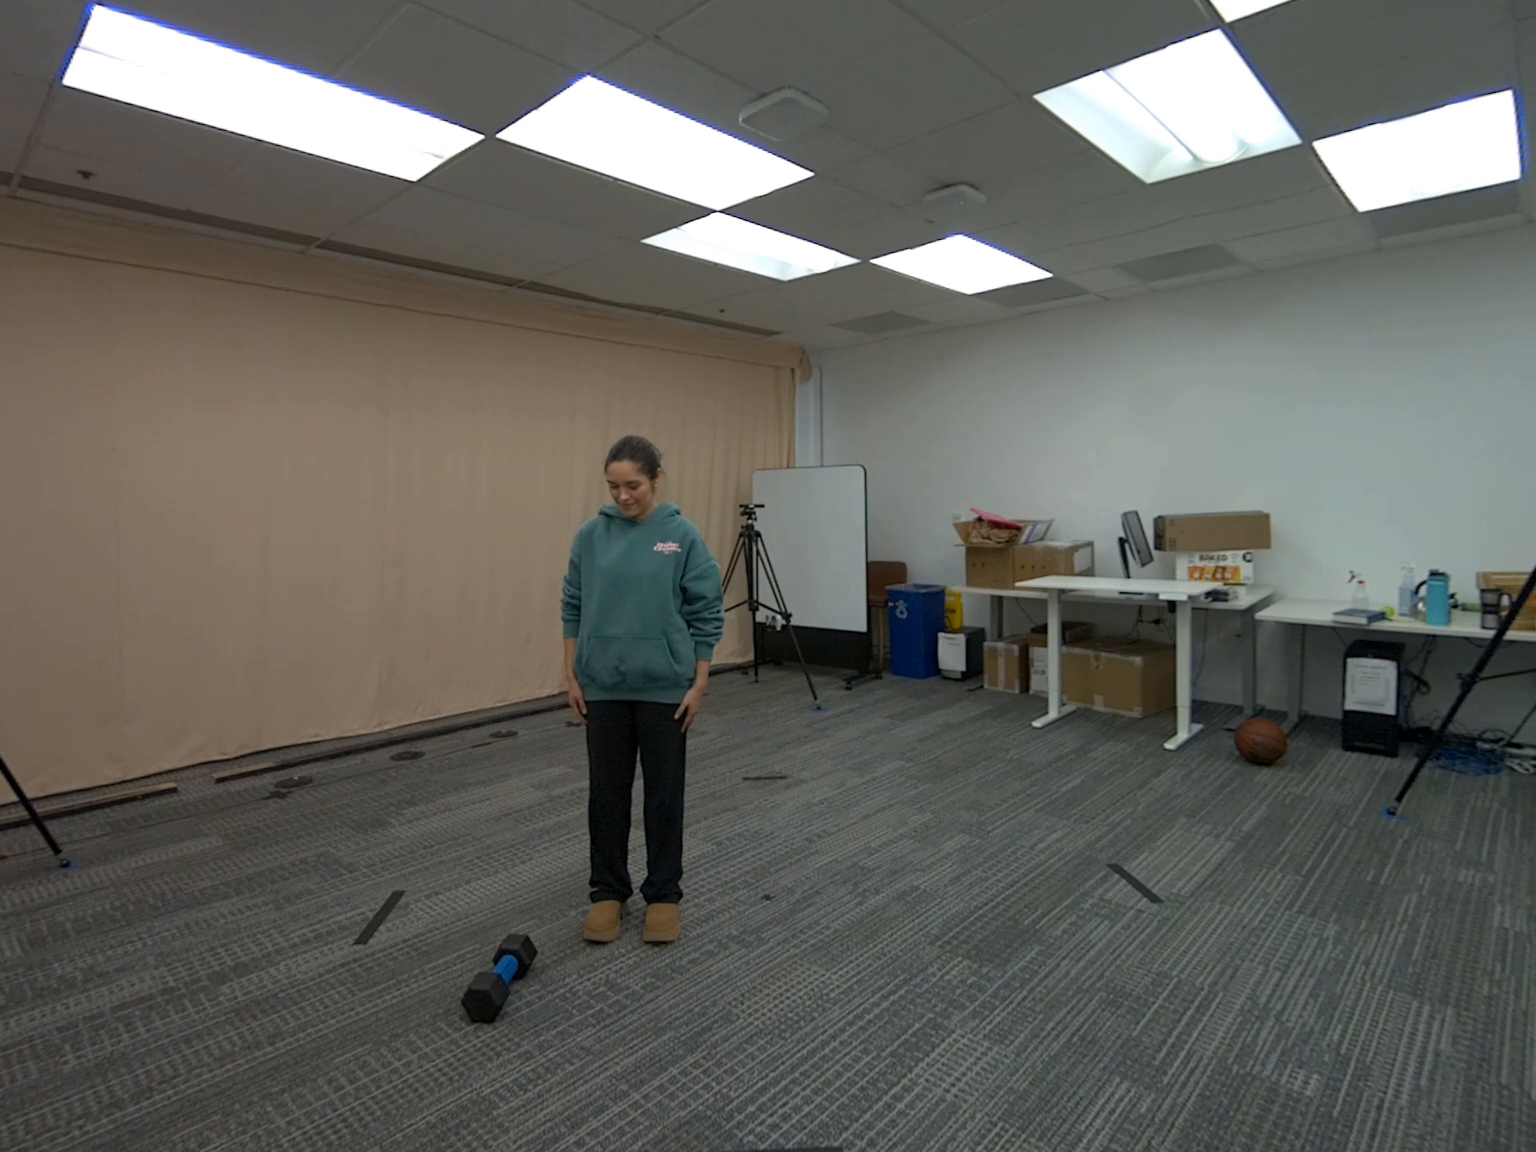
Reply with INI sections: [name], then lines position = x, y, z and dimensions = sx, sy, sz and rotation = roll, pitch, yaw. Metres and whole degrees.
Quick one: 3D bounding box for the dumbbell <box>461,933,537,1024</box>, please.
[dumbbell]
position = -0.769, 1.152, 2.415
dimensions = 0.109, 0.123, 0.292
rotation = -29, 2, 7
